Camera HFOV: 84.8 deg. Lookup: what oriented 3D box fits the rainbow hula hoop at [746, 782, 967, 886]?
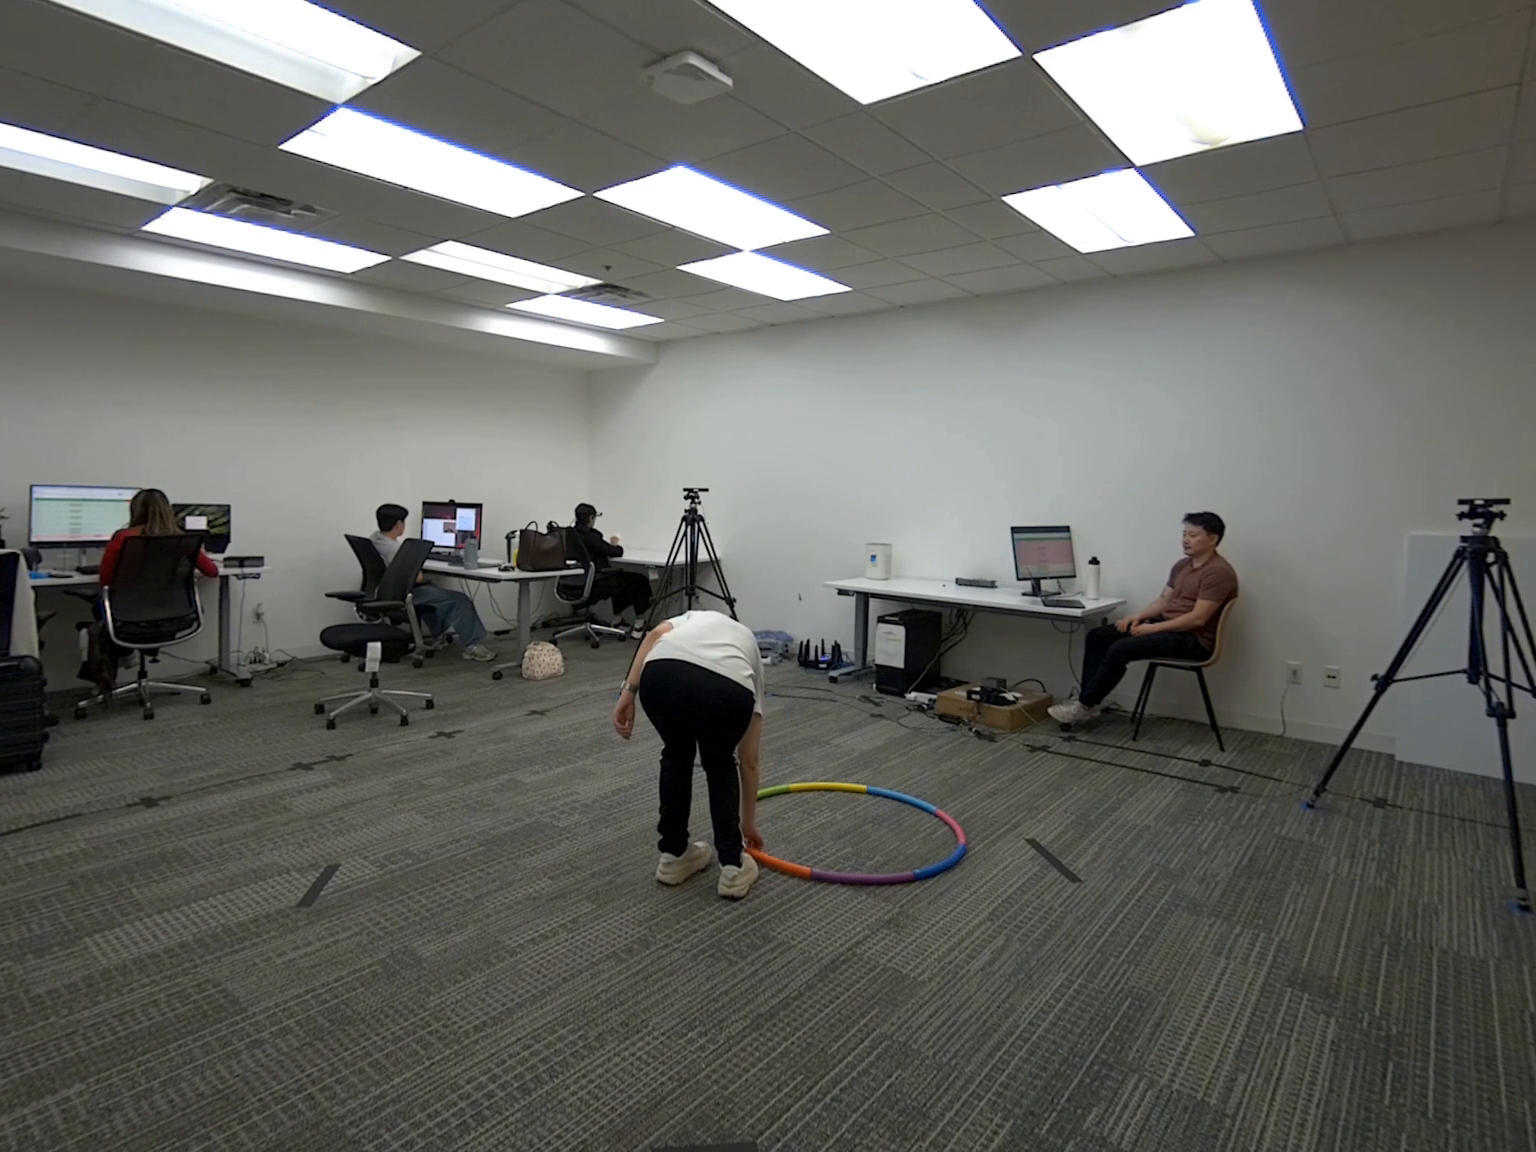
[{"bbox_3d":[0.298,1.008,3.489,0.978,0.035,0.984,1,6,-2],"label":"rainbow hula hoop"}]
